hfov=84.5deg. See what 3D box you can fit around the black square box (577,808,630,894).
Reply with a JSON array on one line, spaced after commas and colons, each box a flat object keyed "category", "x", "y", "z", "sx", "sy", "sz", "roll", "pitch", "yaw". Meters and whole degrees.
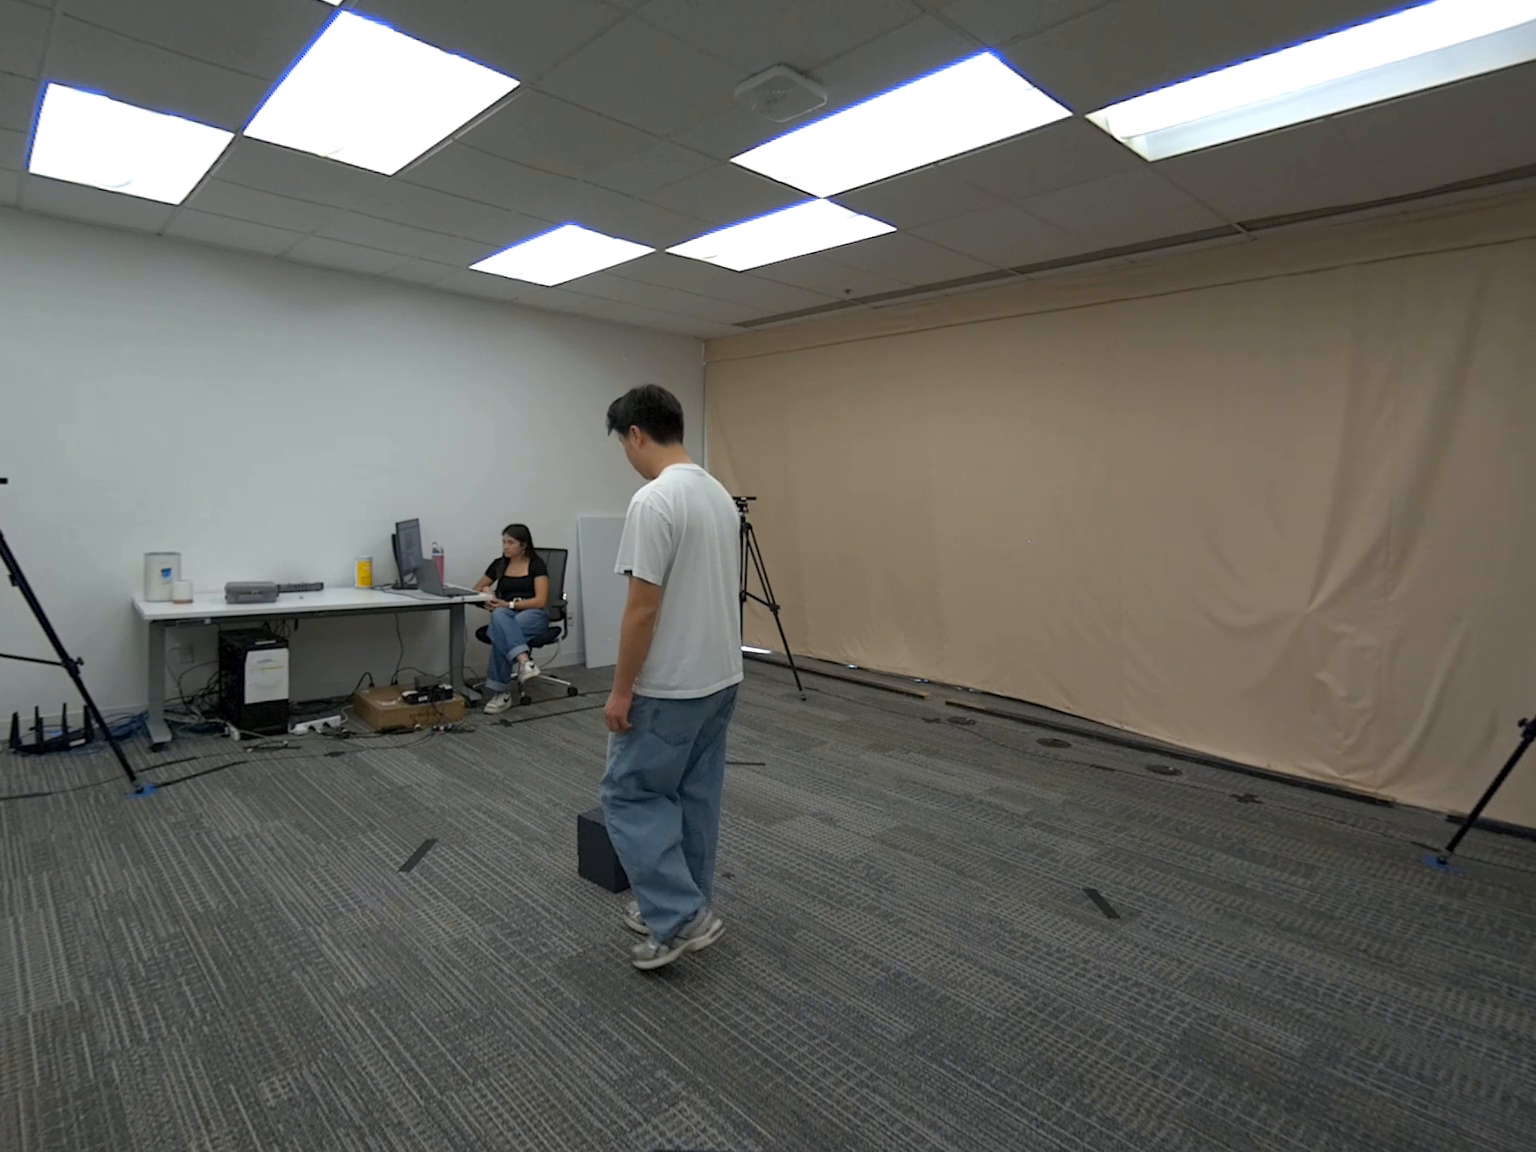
[{"category": "black square box", "x": -0.568, "y": 0.980, "z": 3.059, "sx": 0.222, "sy": 0.227, "sz": 0.152, "roll": 4, "pitch": 5, "yaw": 41}]
